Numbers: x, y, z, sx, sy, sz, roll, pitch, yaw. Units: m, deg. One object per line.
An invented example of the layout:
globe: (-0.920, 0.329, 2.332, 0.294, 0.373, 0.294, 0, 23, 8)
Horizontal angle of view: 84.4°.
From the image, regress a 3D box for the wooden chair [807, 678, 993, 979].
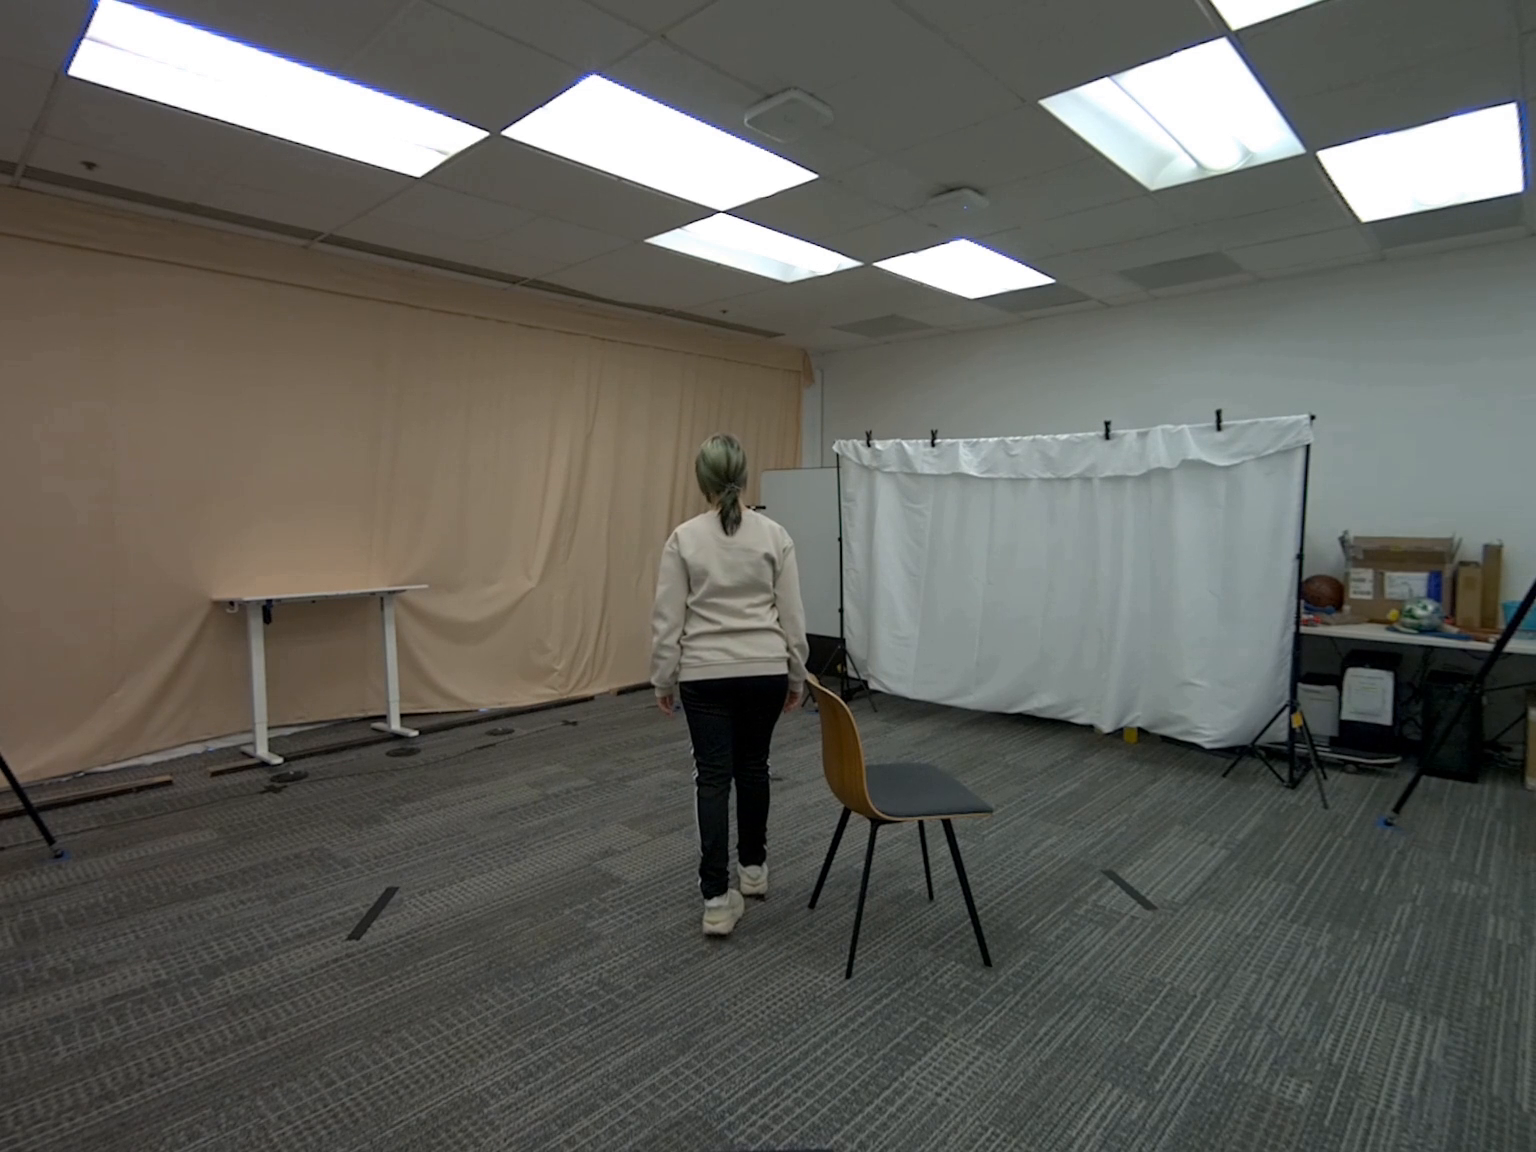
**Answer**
wooden chair: (0.421, 0.740, 2.701, 0.518, 0.875, 0.484, -5, 4, -11)
